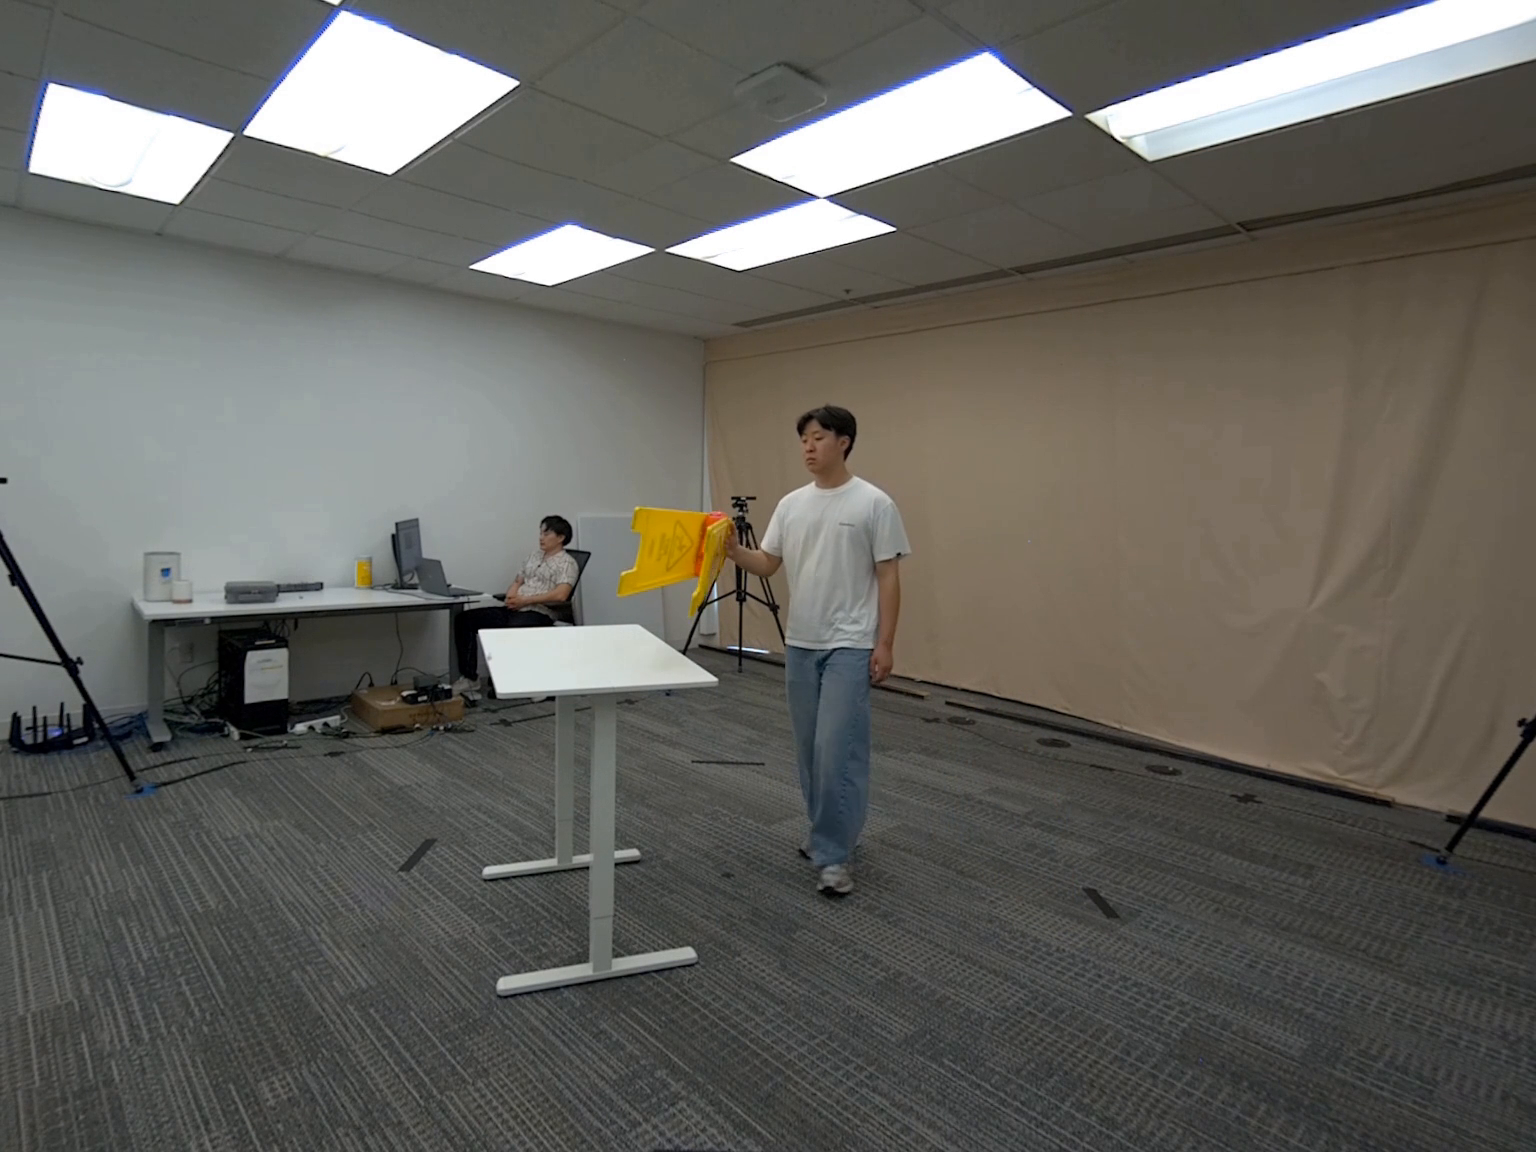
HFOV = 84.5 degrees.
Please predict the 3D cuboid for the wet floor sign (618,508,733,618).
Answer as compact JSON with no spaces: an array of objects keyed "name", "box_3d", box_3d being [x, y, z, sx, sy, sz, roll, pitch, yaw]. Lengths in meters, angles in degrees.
[{"name":"wet floor sign","box_3d":[-0.235,-0.075,2.797,0.293,0.281,0.642,15,10,10]}]
